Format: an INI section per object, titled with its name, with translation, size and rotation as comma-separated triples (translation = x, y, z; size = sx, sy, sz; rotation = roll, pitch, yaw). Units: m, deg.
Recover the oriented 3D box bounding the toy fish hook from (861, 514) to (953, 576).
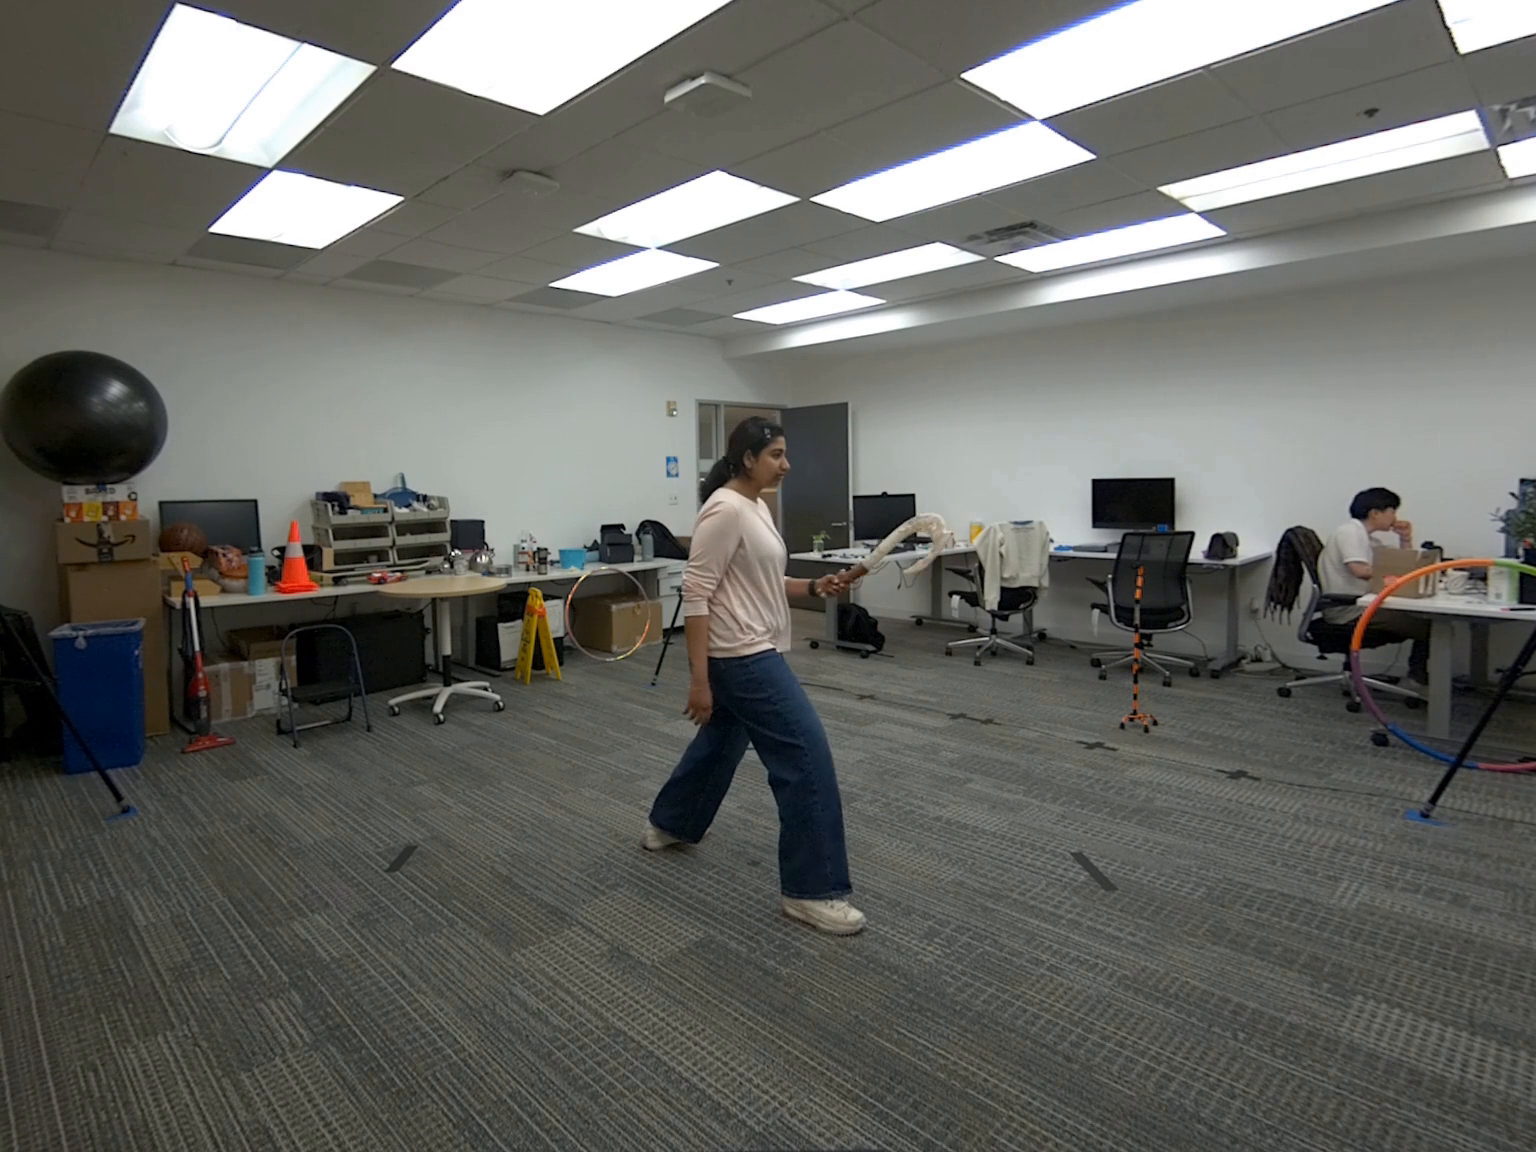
[toy fish hook]
translation = 0.388, -0.043, 2.895
size = 0.509, 0.046, 0.231
rotation = -35, 36, 19
